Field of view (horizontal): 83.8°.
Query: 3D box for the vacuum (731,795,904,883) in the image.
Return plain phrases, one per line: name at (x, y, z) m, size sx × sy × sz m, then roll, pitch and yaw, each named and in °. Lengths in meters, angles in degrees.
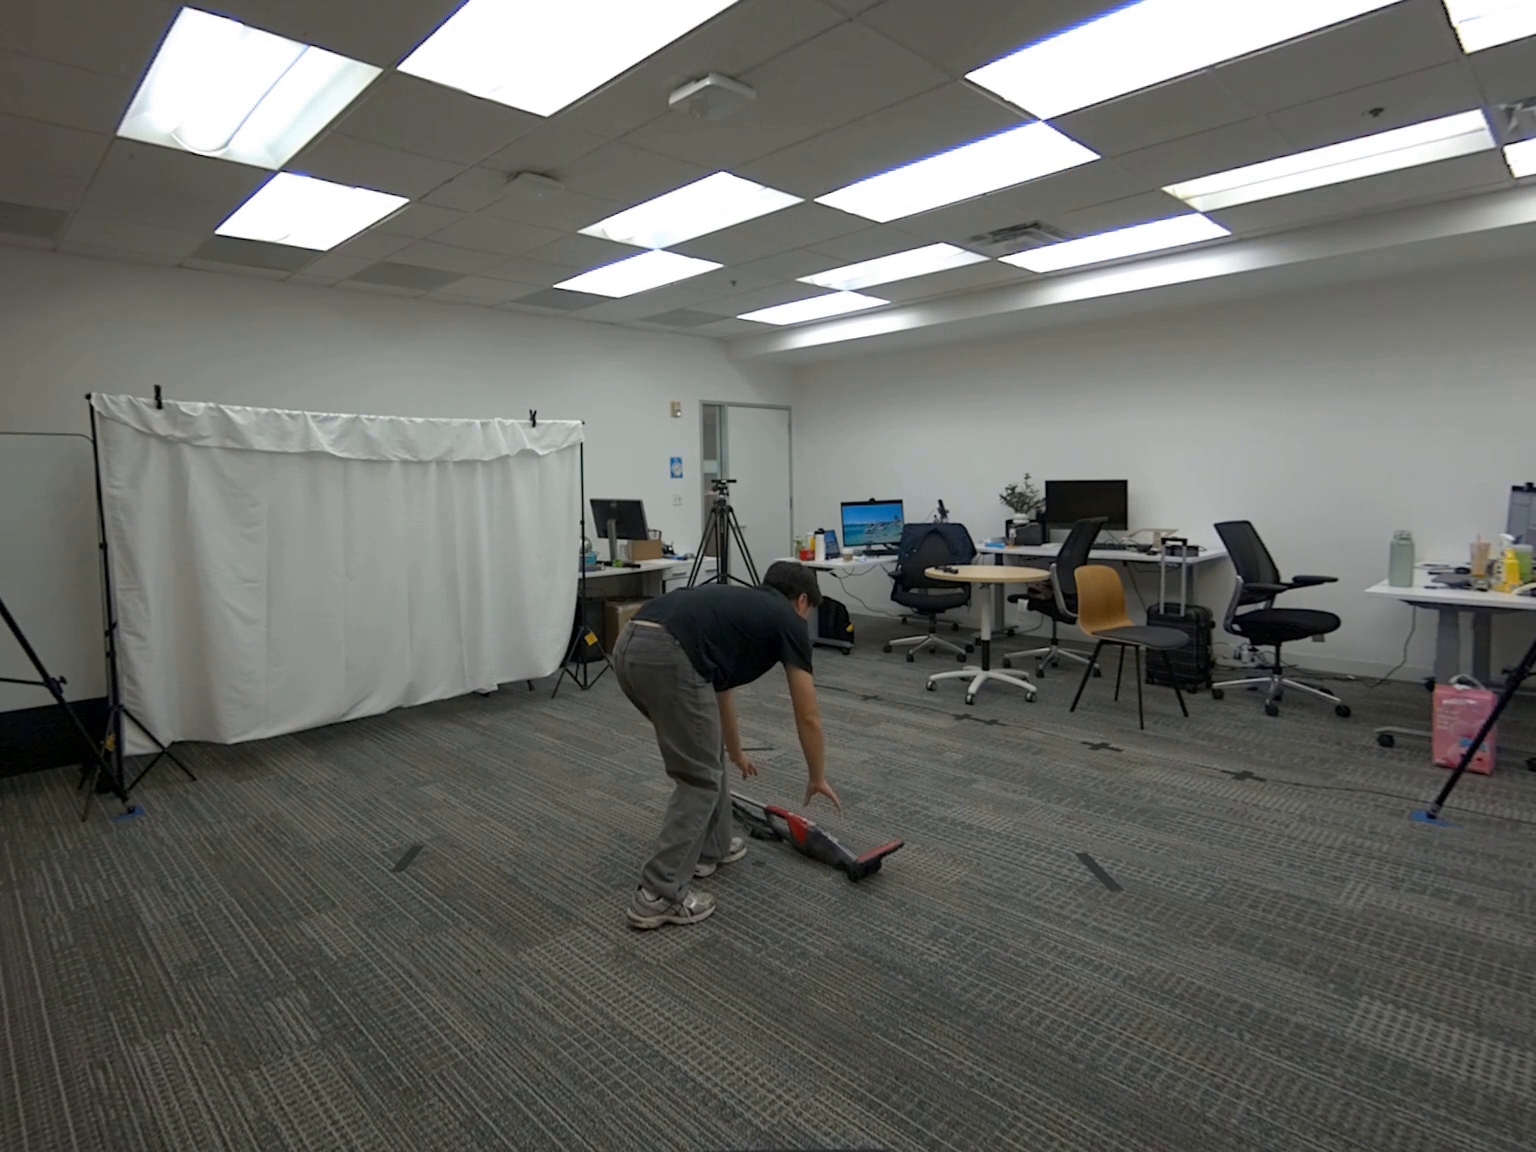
vacuum at (0.006, 0.958, 3.356) m, size 0.246 × 0.143 × 1.082 m, roll -9°, pitch 10°, yaw -41°
